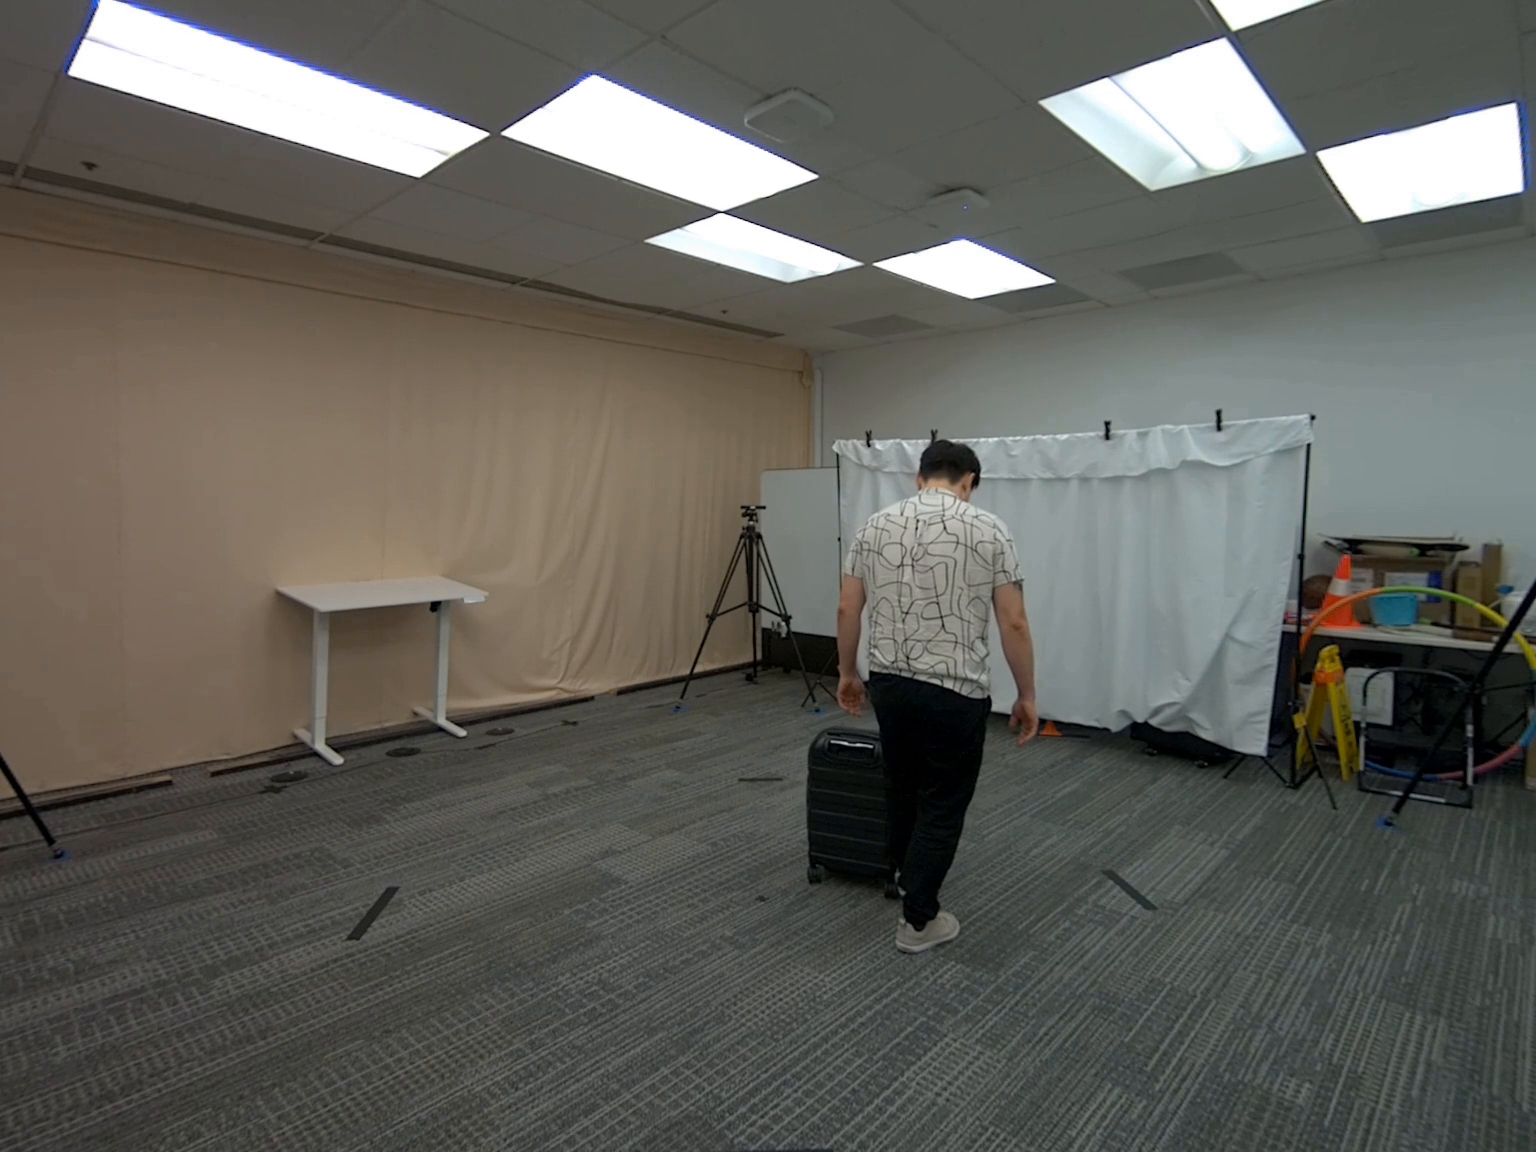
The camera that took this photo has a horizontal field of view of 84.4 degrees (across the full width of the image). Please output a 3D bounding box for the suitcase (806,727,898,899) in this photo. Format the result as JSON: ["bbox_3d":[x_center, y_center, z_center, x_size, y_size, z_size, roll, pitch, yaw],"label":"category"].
[{"bbox_3d":[0.345,0.853,3.156,0.385,0.549,0.242,0,2,26],"label":"suitcase"}]
